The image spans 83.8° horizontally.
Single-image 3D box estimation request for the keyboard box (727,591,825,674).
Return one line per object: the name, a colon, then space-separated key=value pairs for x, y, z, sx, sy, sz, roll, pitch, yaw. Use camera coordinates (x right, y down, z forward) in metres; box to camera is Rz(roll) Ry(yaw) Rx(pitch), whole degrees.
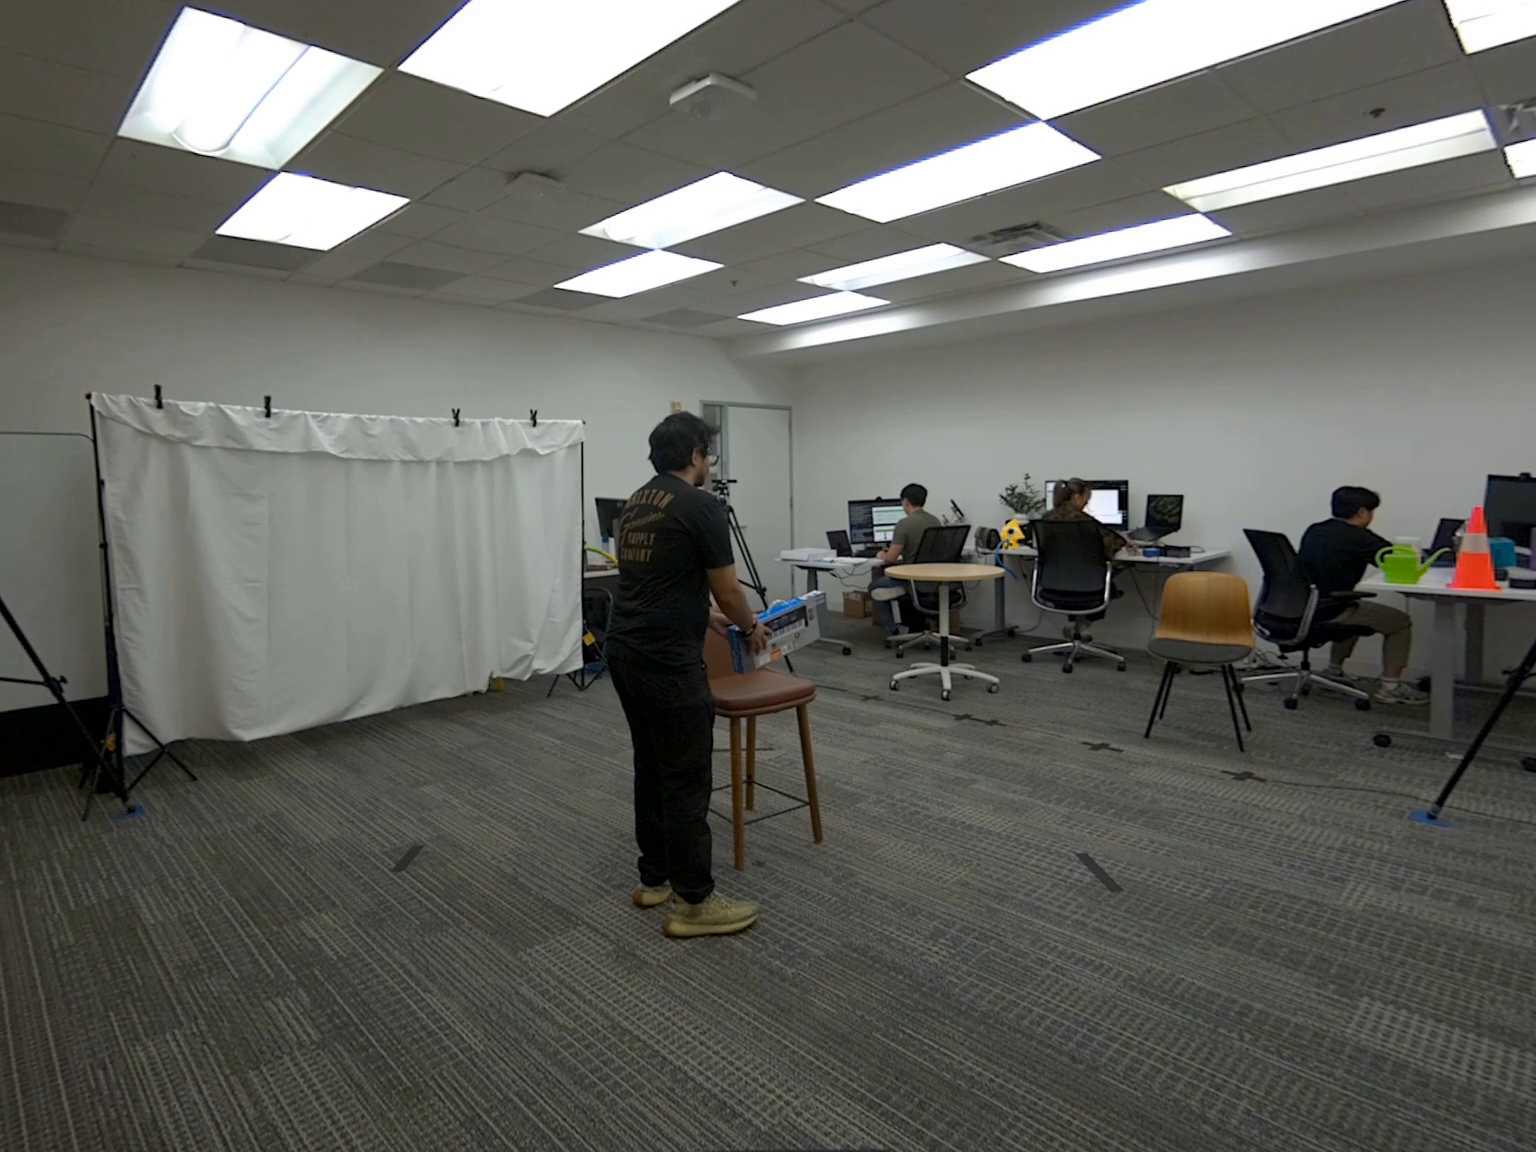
keyboard box: x=0.050 y=0.209 z=3.149 sx=0.429 sy=0.173 sz=0.061 roll=-21 pitch=20 yaw=-35
